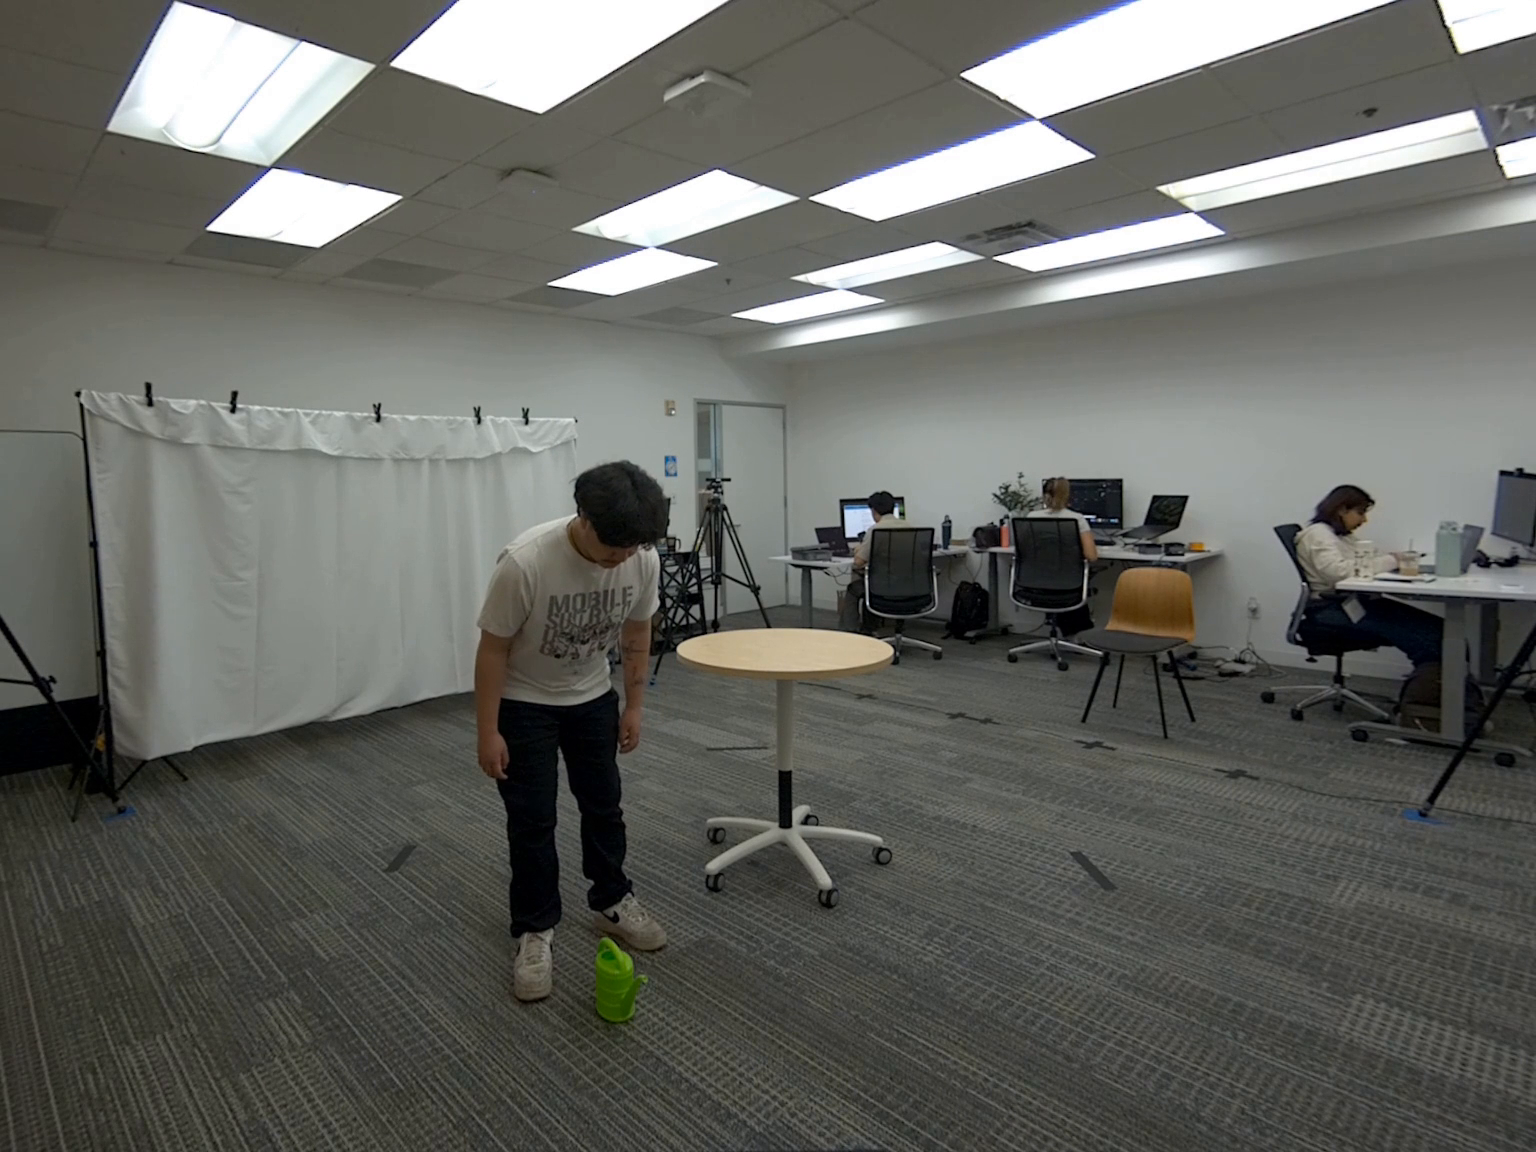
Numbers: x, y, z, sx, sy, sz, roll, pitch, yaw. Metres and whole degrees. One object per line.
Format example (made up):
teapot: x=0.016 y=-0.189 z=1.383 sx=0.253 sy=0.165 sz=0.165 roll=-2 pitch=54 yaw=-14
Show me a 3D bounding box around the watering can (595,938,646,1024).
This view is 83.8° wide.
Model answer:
watering can: x=-0.384 y=1.069 z=2.208 sx=0.096 sy=0.176 sz=0.284 roll=-5 pitch=5 yaw=-19
